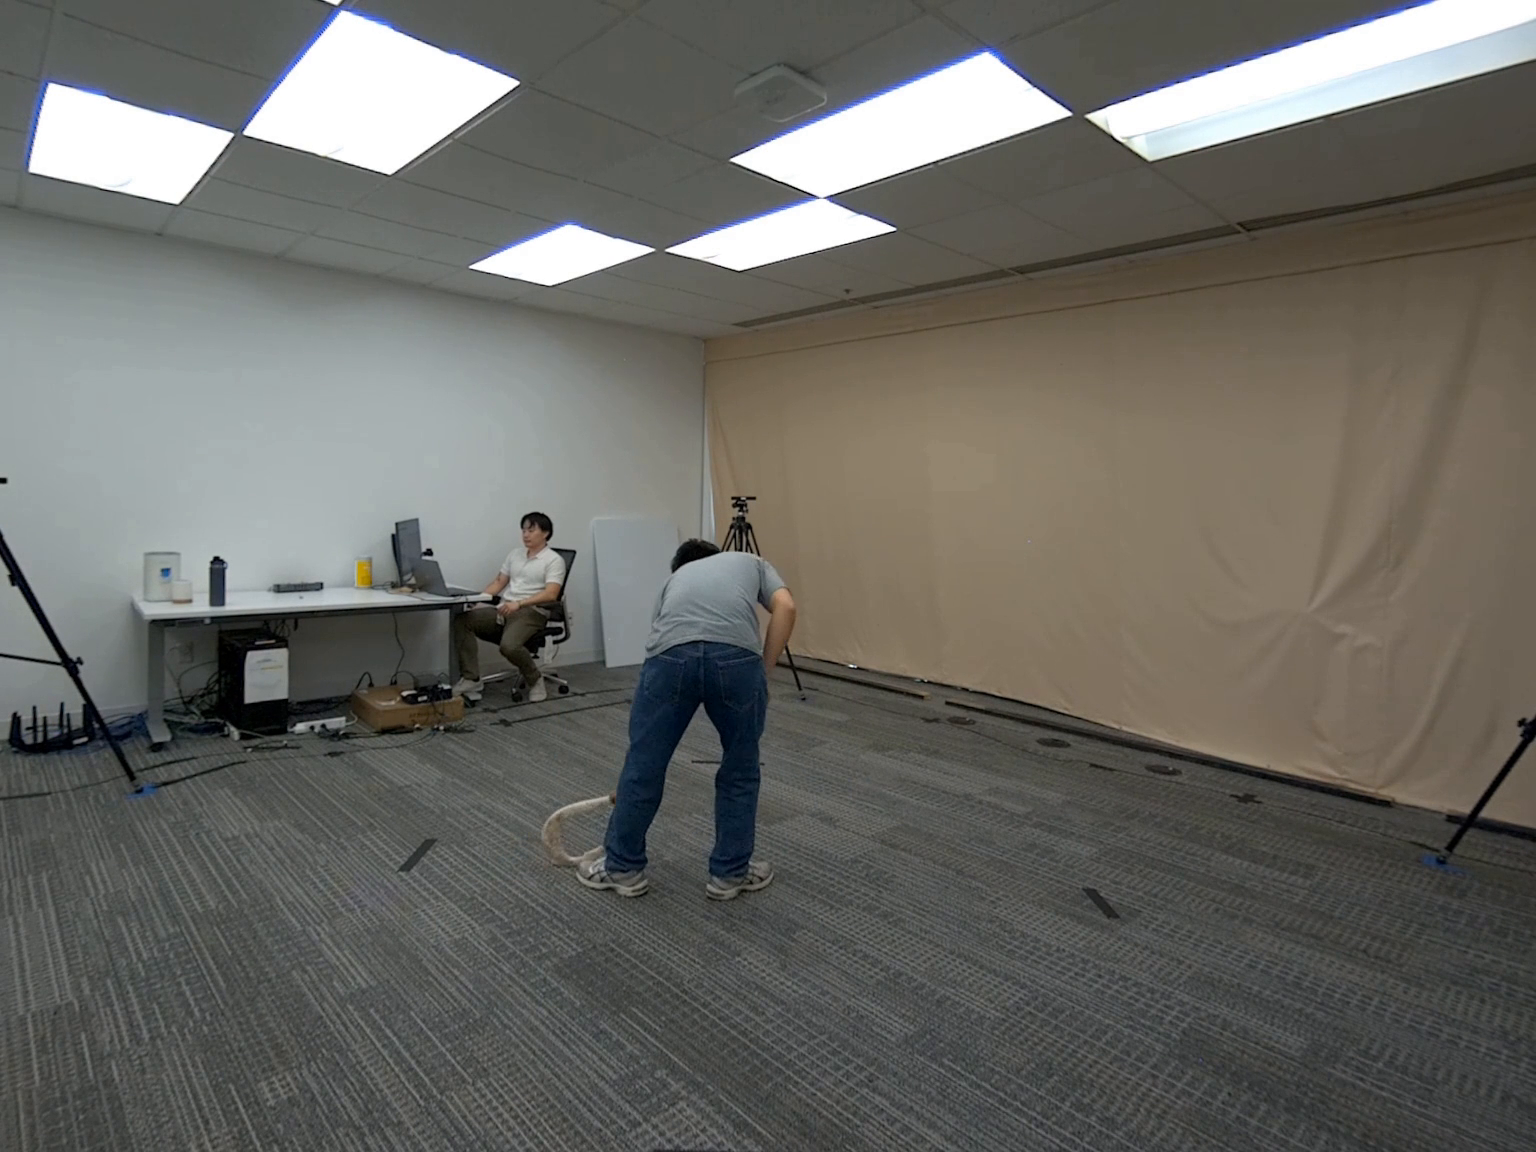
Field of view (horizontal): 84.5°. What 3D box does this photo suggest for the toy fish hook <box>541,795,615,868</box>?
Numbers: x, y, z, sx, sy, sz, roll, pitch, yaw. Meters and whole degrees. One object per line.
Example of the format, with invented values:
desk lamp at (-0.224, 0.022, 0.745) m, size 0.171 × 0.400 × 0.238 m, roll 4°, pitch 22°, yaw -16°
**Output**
toy fish hook at (-0.617, 0.910, 3.172) m, size 0.506 × 0.226 × 0.048 m, roll -31°, pitch -5°, yaw -2°
